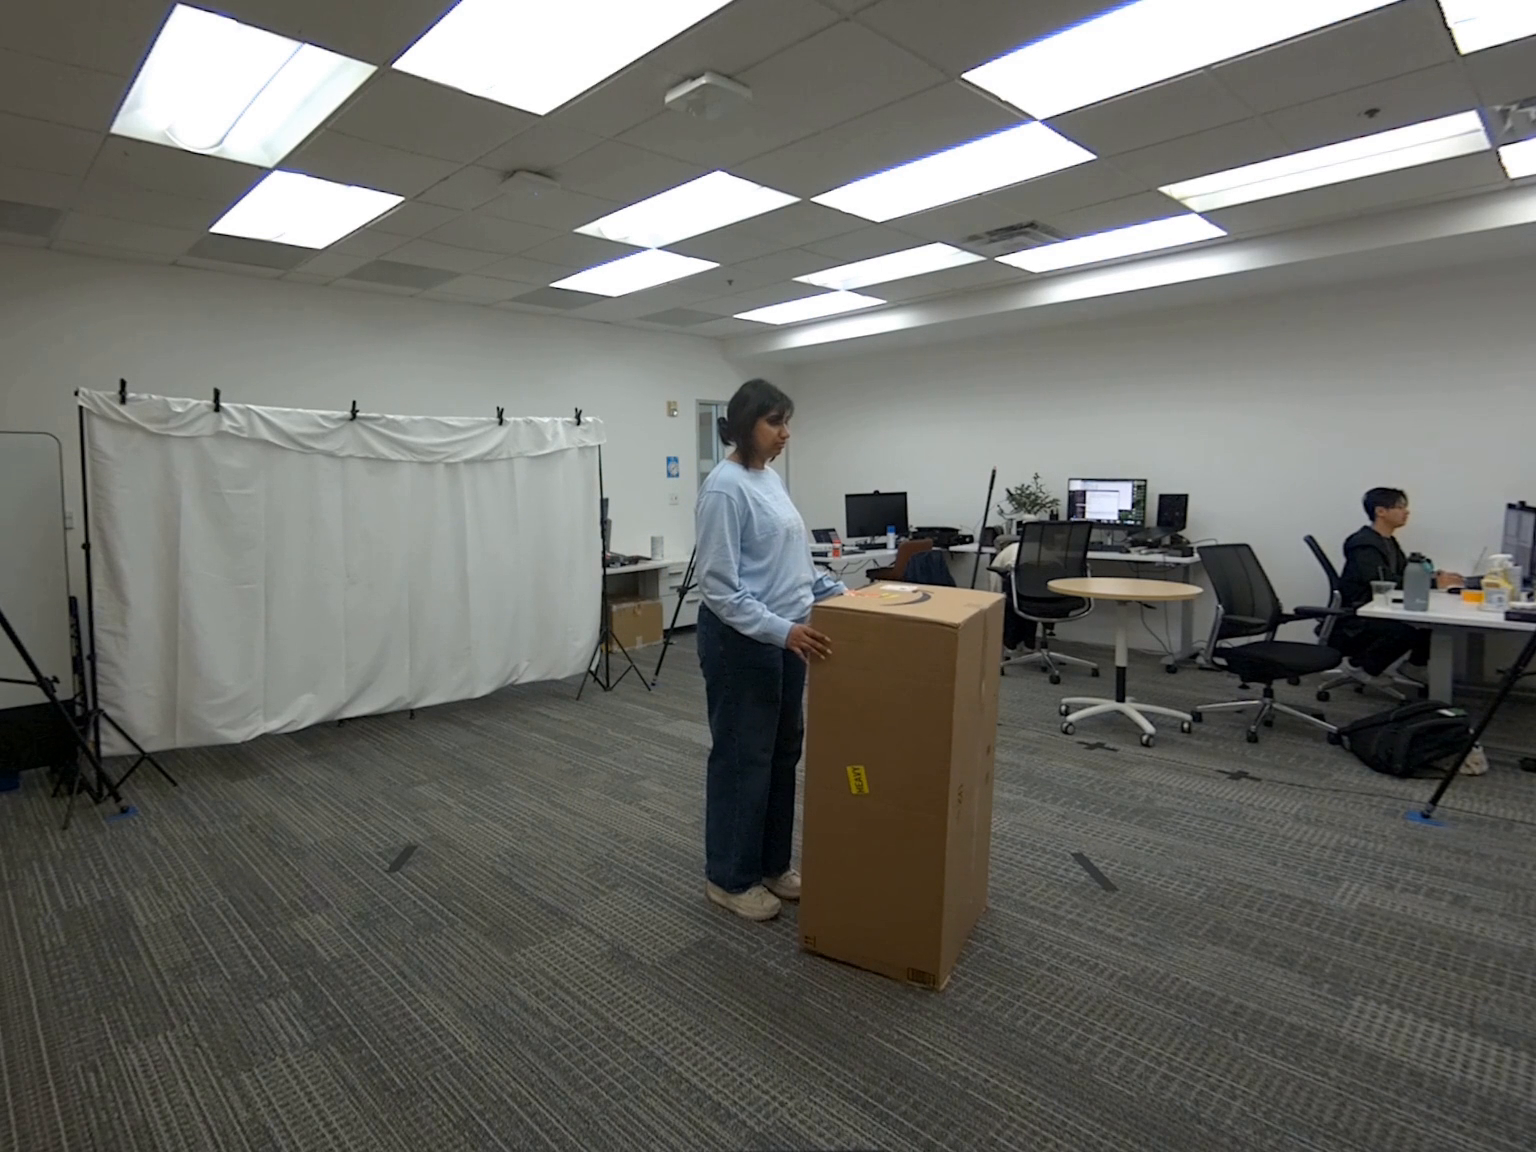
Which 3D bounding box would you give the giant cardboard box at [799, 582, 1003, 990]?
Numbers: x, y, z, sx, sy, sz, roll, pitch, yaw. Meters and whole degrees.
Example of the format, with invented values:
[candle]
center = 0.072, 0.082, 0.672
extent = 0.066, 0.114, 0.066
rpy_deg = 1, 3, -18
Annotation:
[giant cardboard box]
center = 0.424, 0.578, 2.607
extent = 0.459, 1.022, 0.571
rpy_deg = 5, 7, 29
